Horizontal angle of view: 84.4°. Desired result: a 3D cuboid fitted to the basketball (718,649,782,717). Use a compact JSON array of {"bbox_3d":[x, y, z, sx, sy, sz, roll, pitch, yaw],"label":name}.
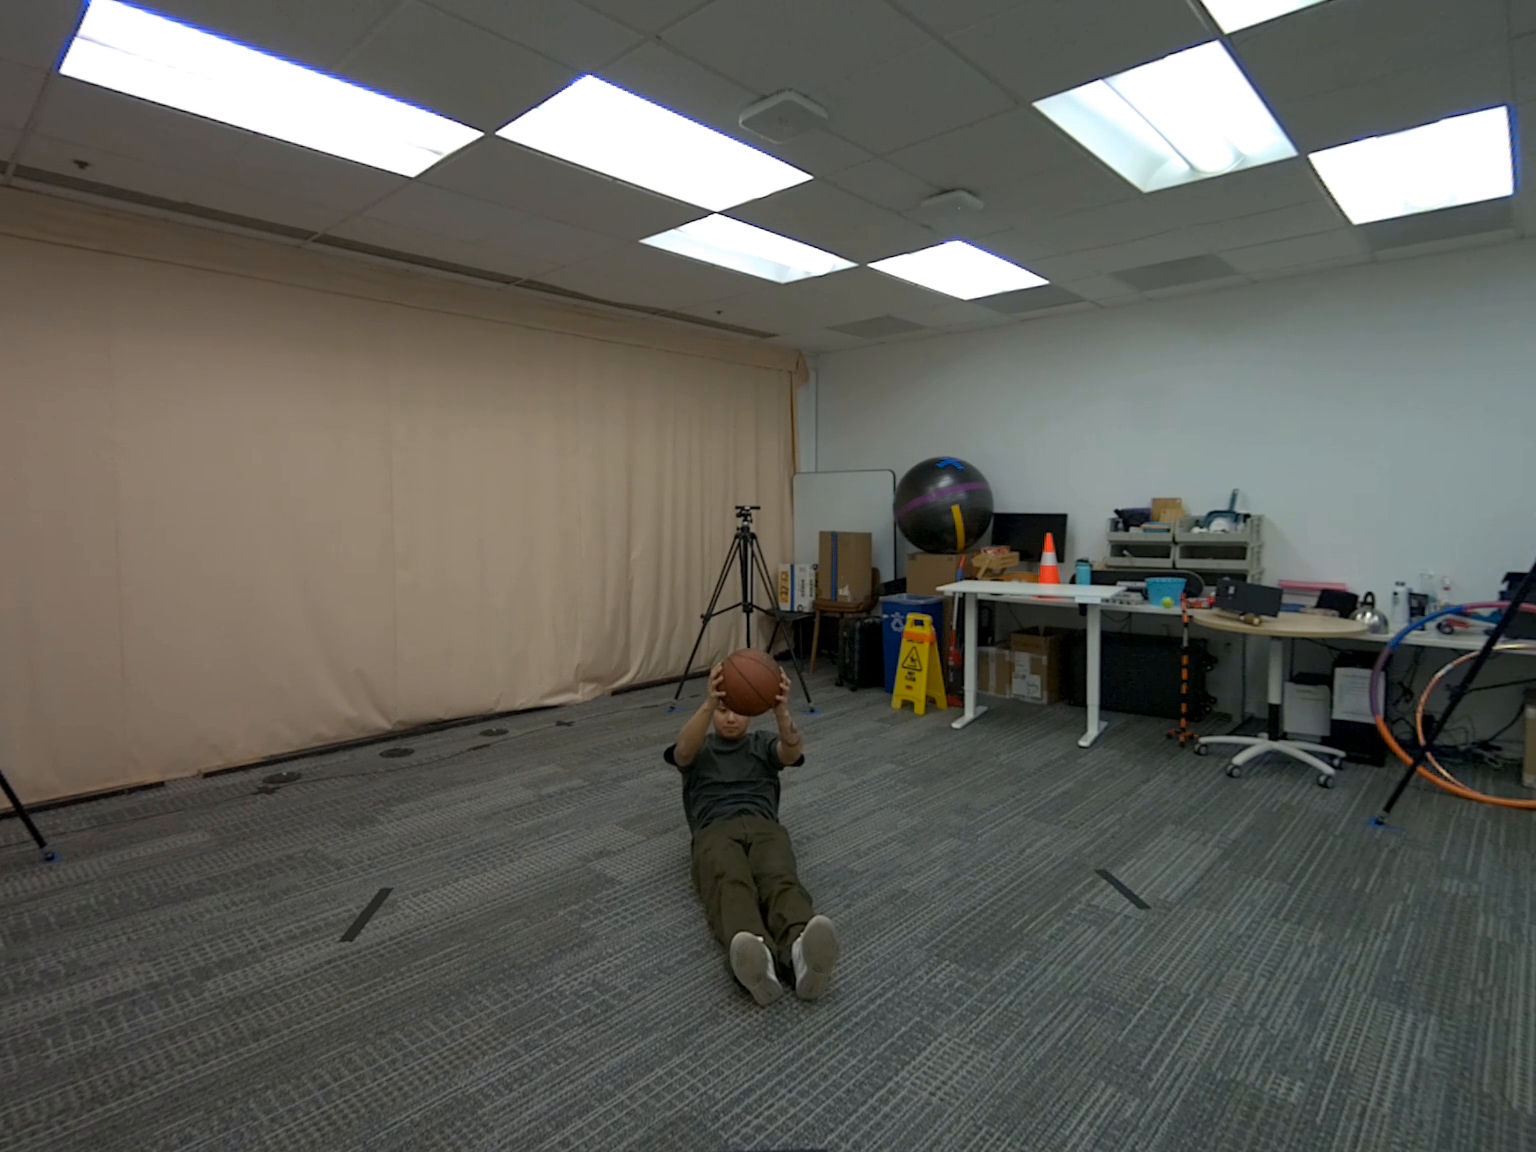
[{"bbox_3d":[-0.070,0.379,2.996,0.236,0.235,0.237,0,4,-2],"label":"basketball"}]
